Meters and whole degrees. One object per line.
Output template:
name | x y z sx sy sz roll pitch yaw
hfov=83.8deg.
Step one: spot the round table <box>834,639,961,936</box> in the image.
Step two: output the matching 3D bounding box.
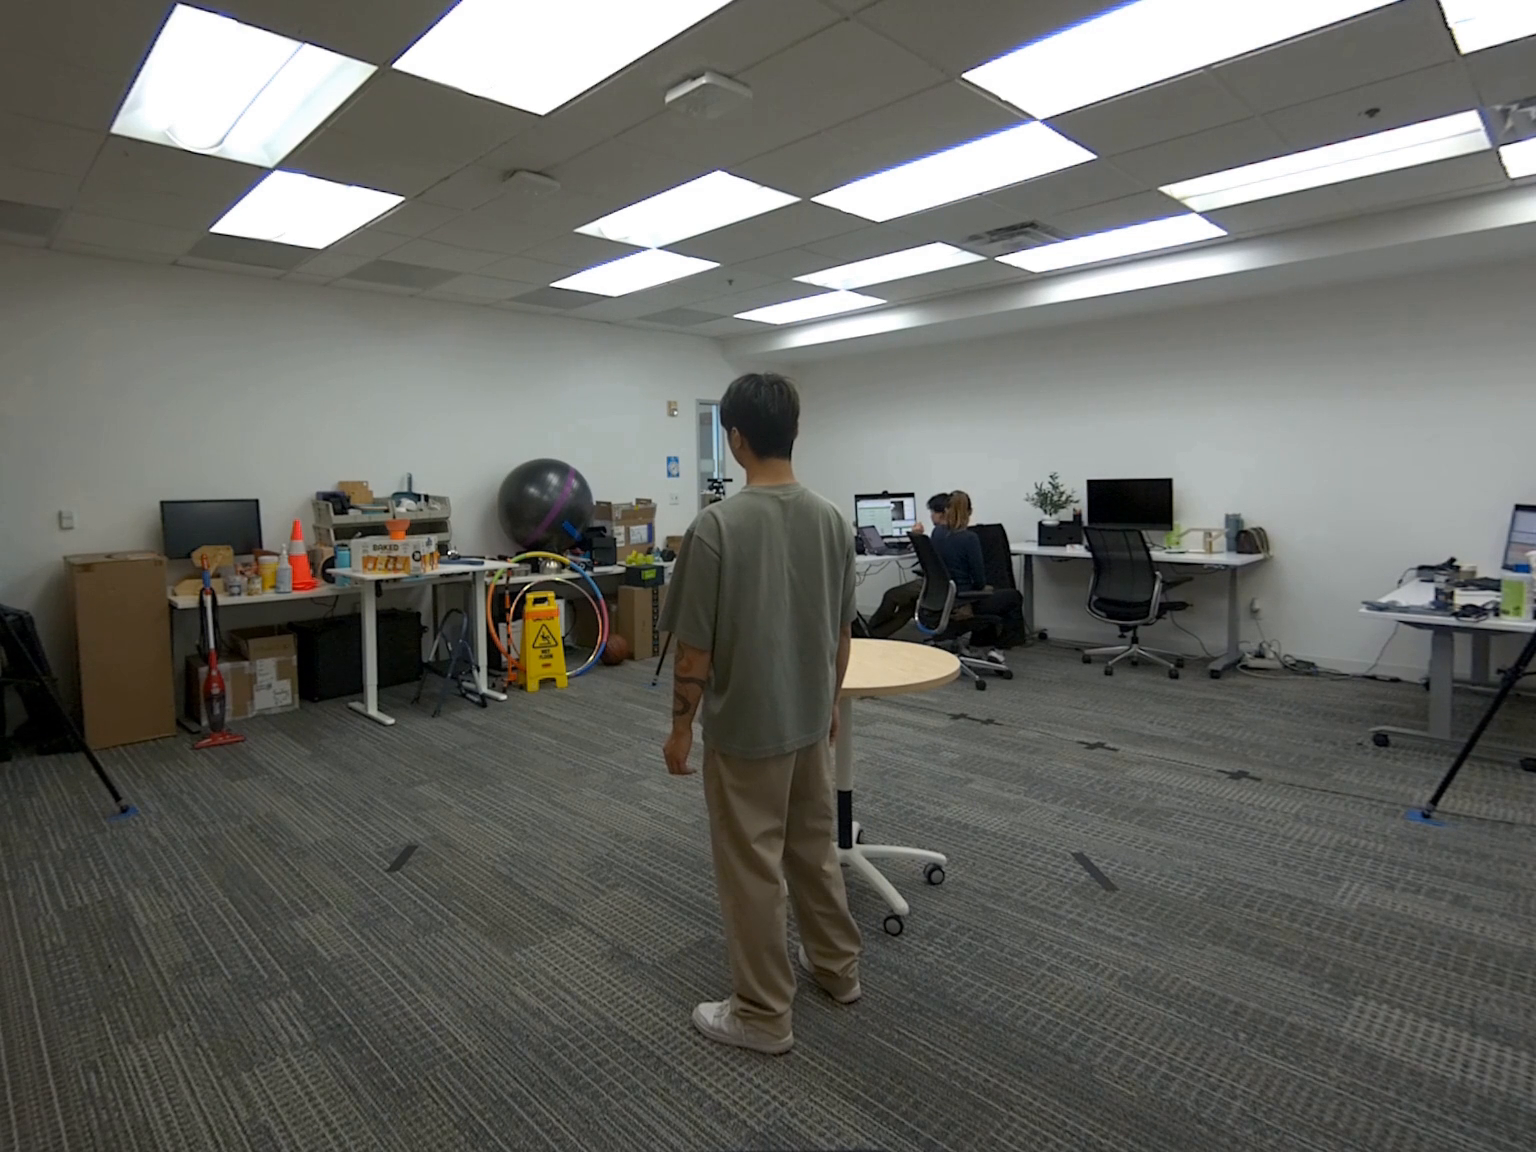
round table | 0.272 0.677 2.897 0.763 0.791 0.768 -1 5 -2
